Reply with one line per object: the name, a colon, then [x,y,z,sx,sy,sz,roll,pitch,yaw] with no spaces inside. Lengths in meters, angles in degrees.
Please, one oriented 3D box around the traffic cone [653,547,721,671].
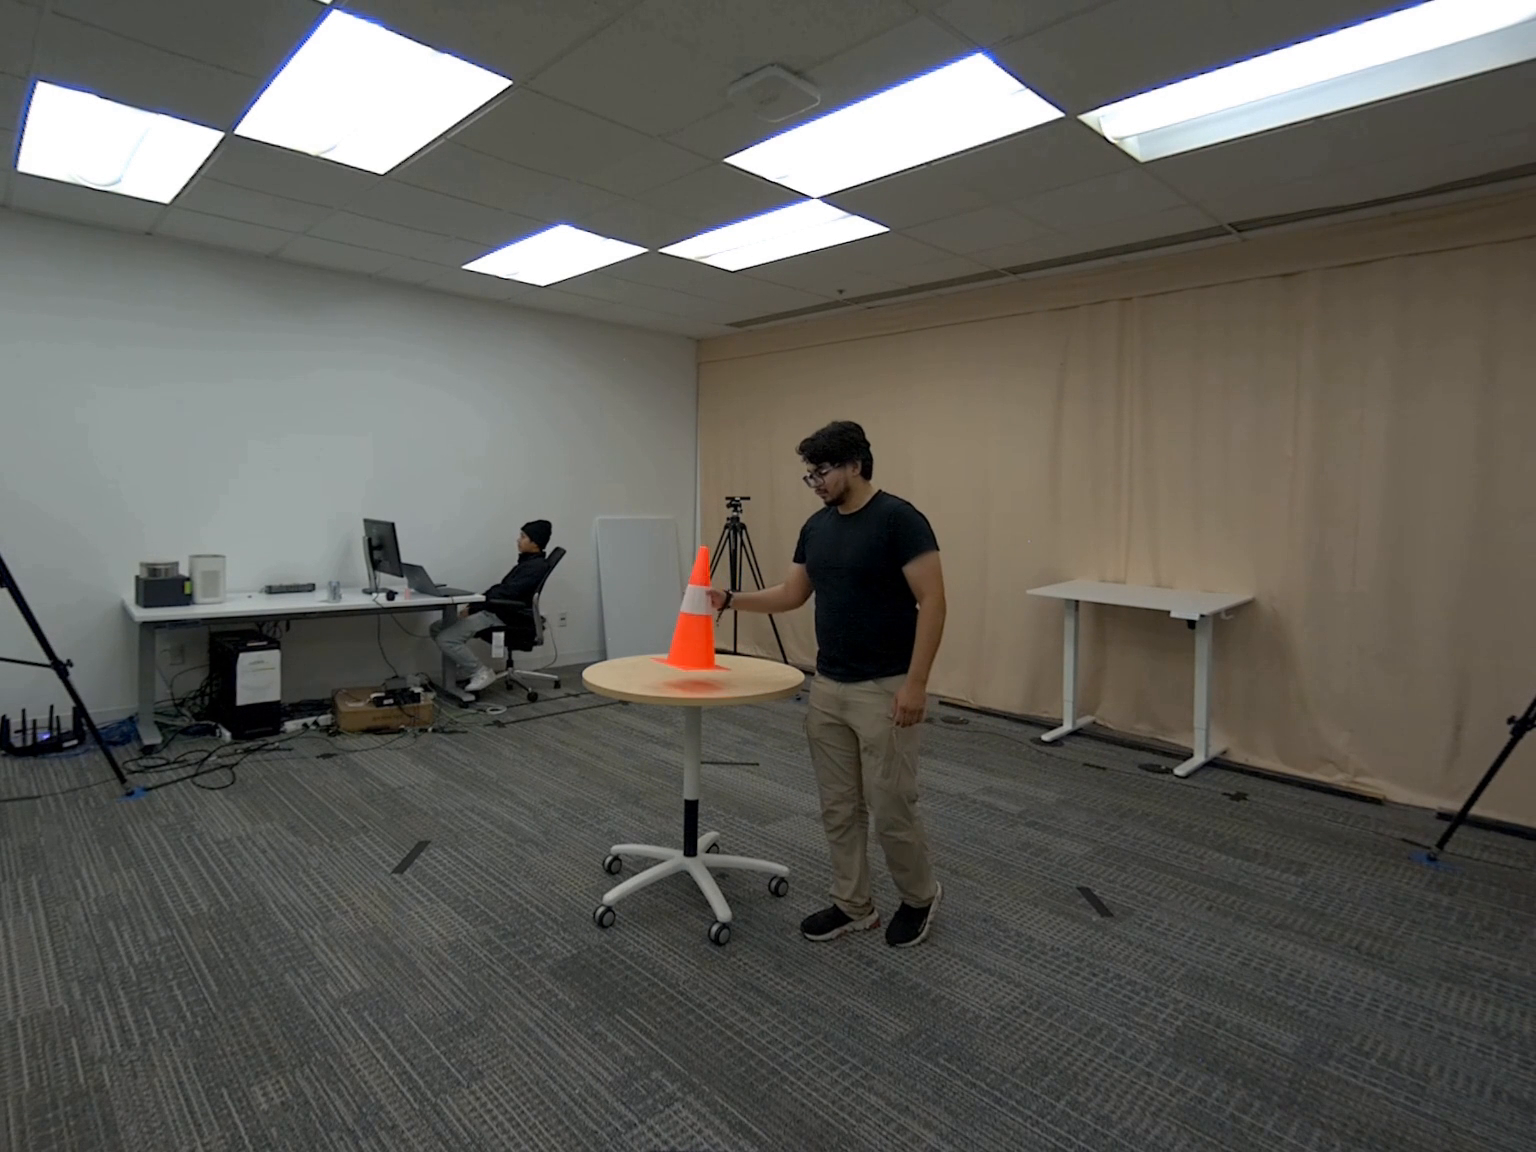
traffic cone: [-0.230,0.104,2.711,0.208,0.384,0.200,4,0,36]
